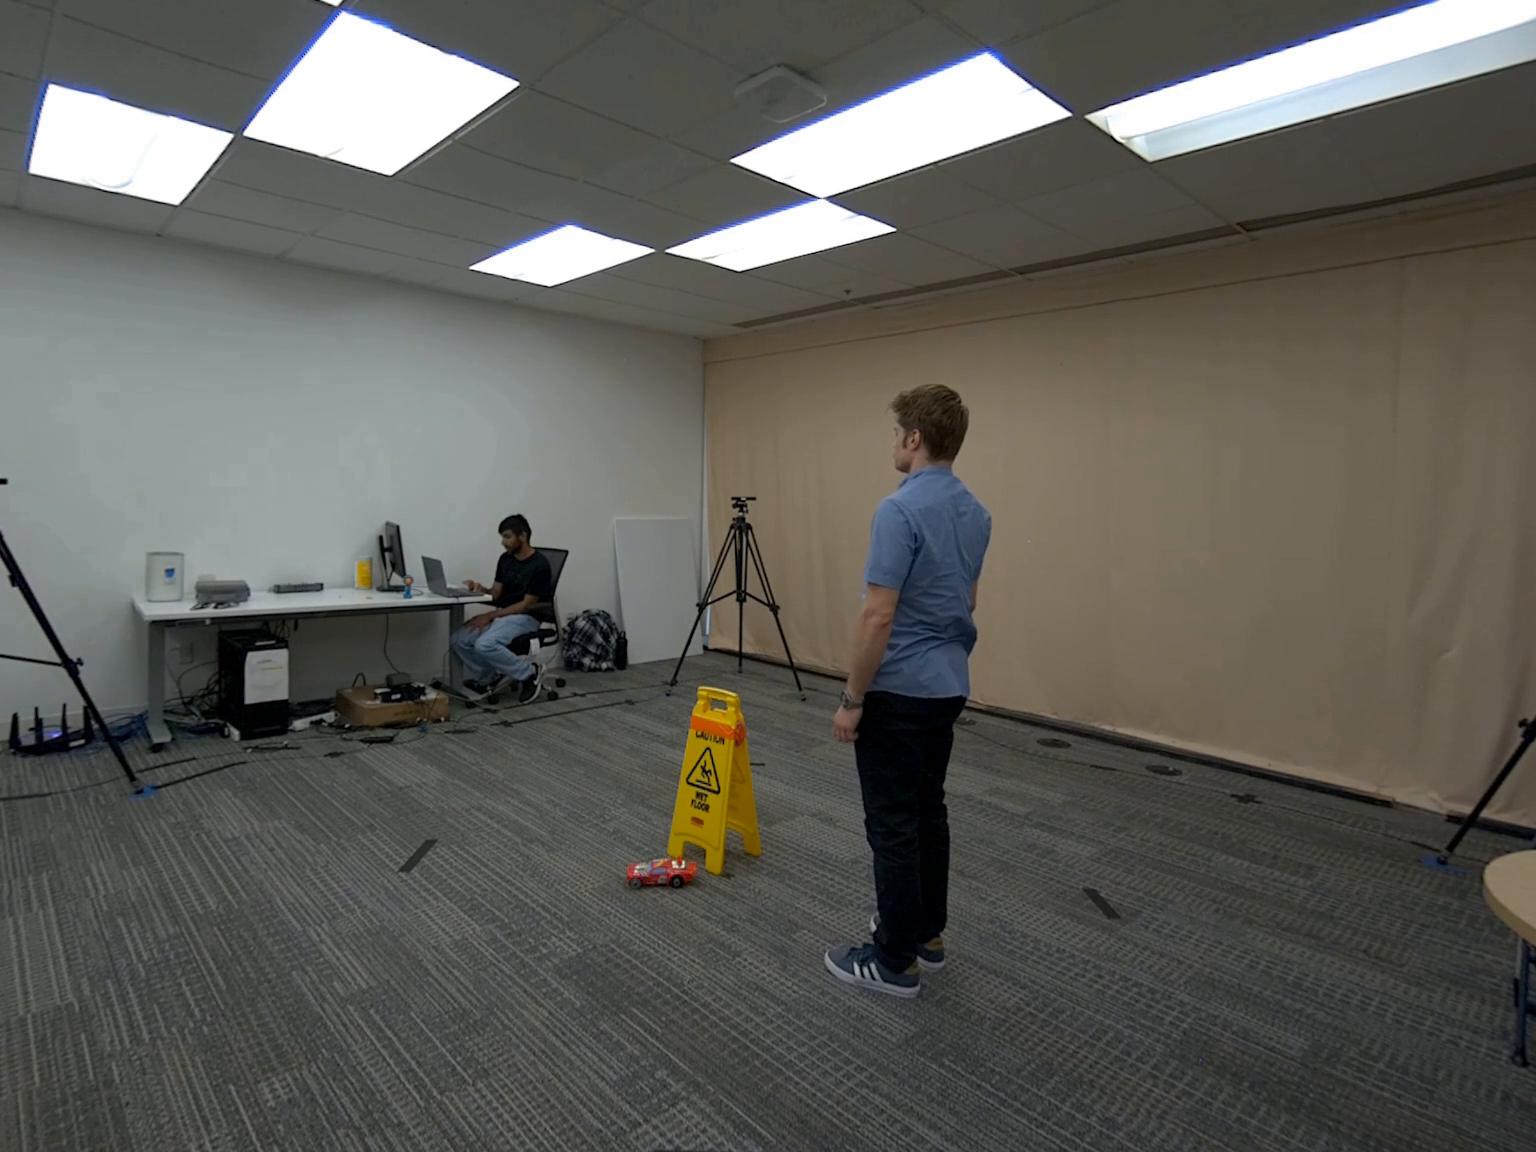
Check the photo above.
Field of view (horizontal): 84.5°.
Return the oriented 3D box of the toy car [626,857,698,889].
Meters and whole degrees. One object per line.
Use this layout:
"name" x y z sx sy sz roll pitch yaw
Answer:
"toy car" -0.389 1.074 3.041 0.254 0.083 0.131 -10 6 -1
